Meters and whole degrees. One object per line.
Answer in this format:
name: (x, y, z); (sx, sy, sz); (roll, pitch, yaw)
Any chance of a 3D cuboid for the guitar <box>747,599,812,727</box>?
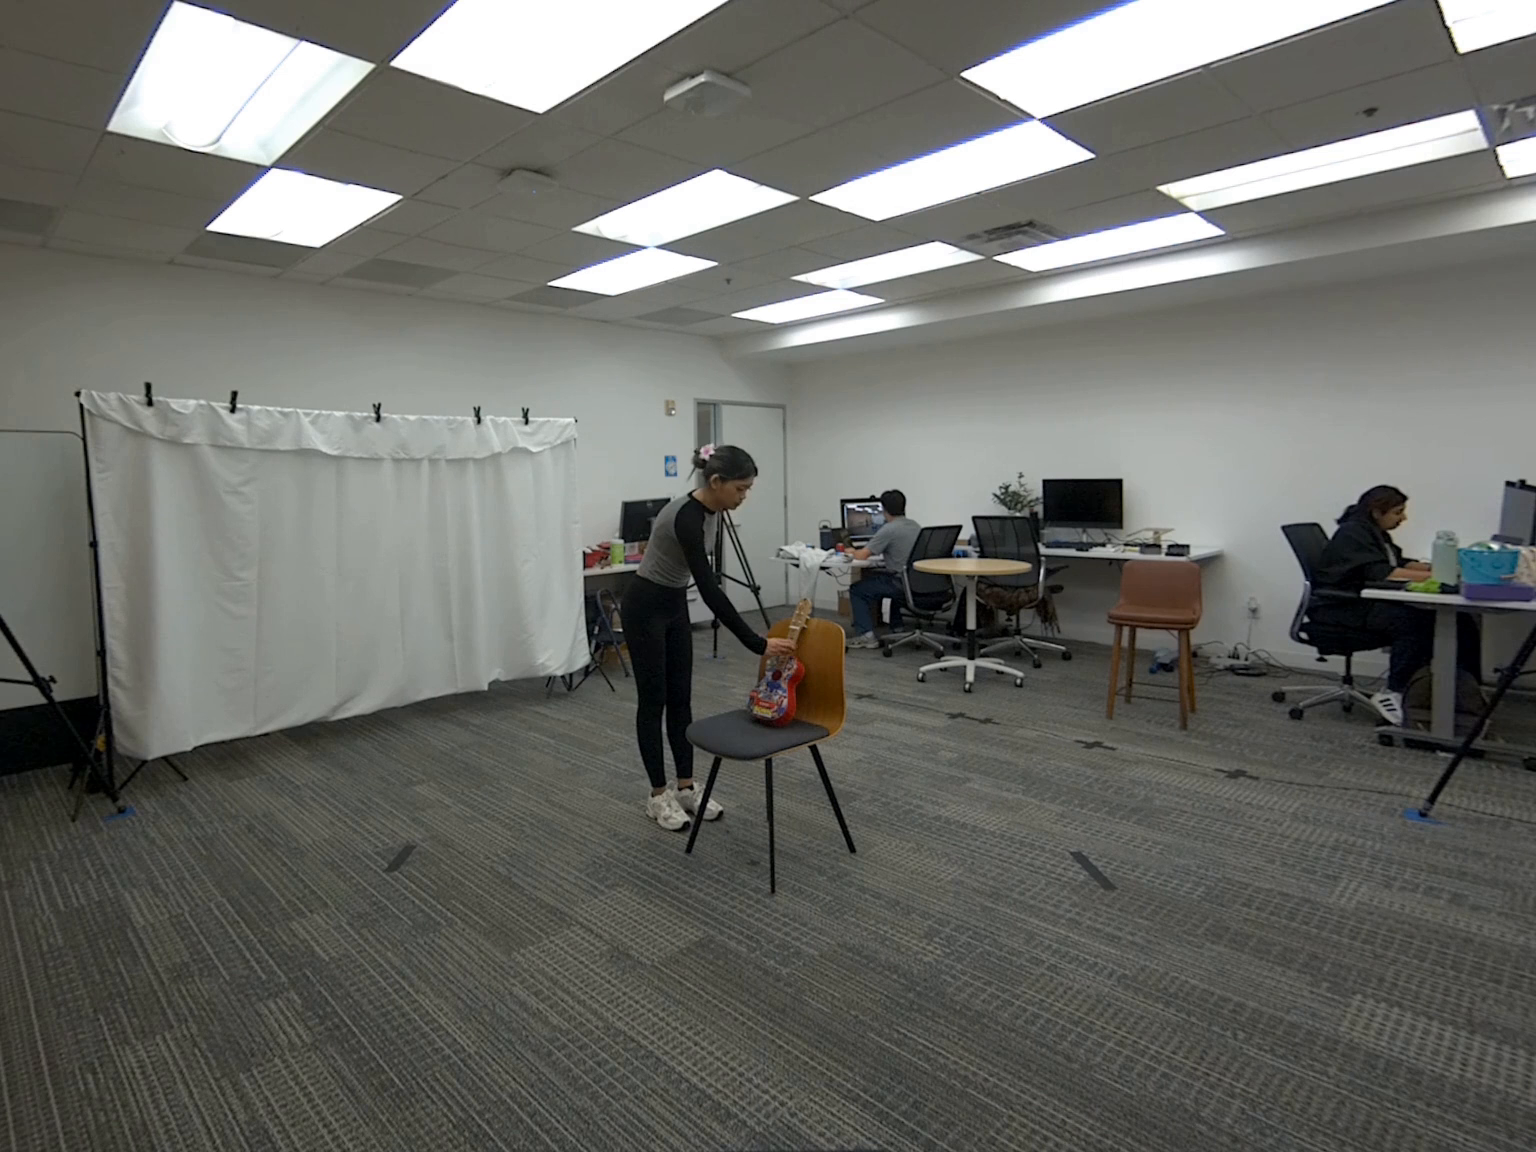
guitar: (0.093, 0.329, 3.260); (0.200, 0.500, 0.068); (16, -18, 44)
